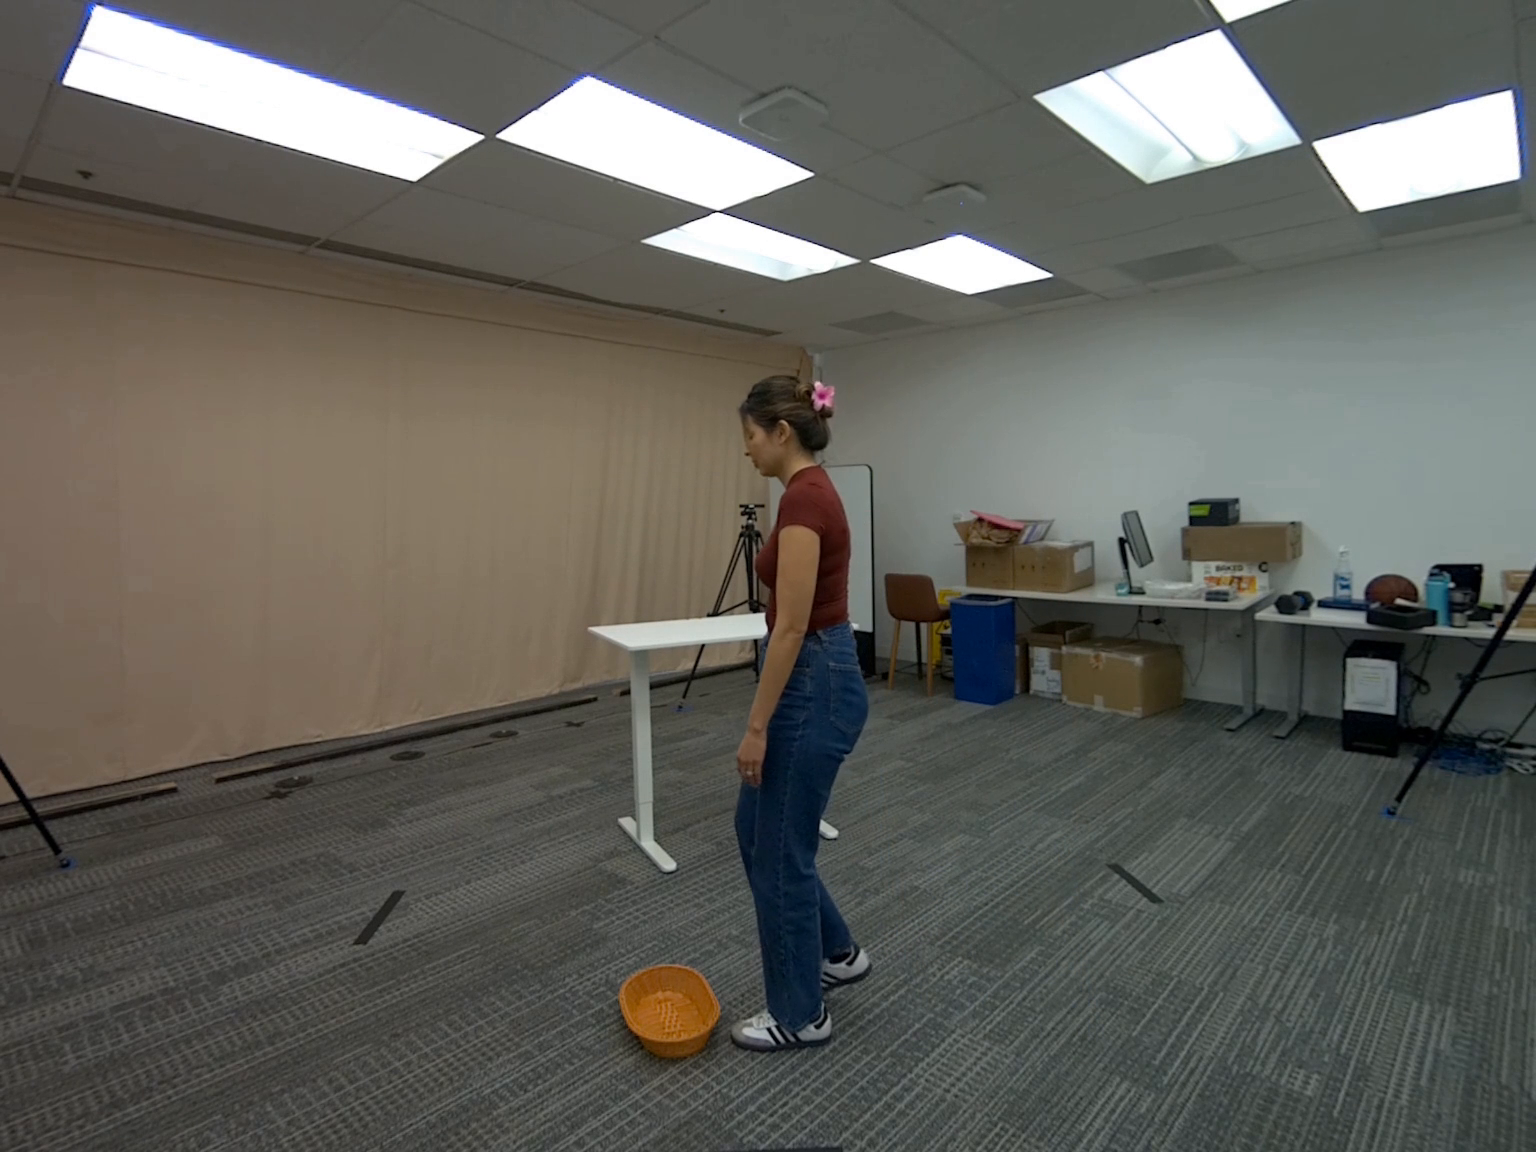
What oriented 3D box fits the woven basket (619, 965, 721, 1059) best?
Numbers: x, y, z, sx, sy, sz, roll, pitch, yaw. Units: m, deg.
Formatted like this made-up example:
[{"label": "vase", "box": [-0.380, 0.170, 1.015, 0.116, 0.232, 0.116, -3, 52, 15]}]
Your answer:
[{"label": "woven basket", "box": [-0.264, 1.170, 2.258, 0.248, 0.073, 0.358, -3, 5, -19]}]
